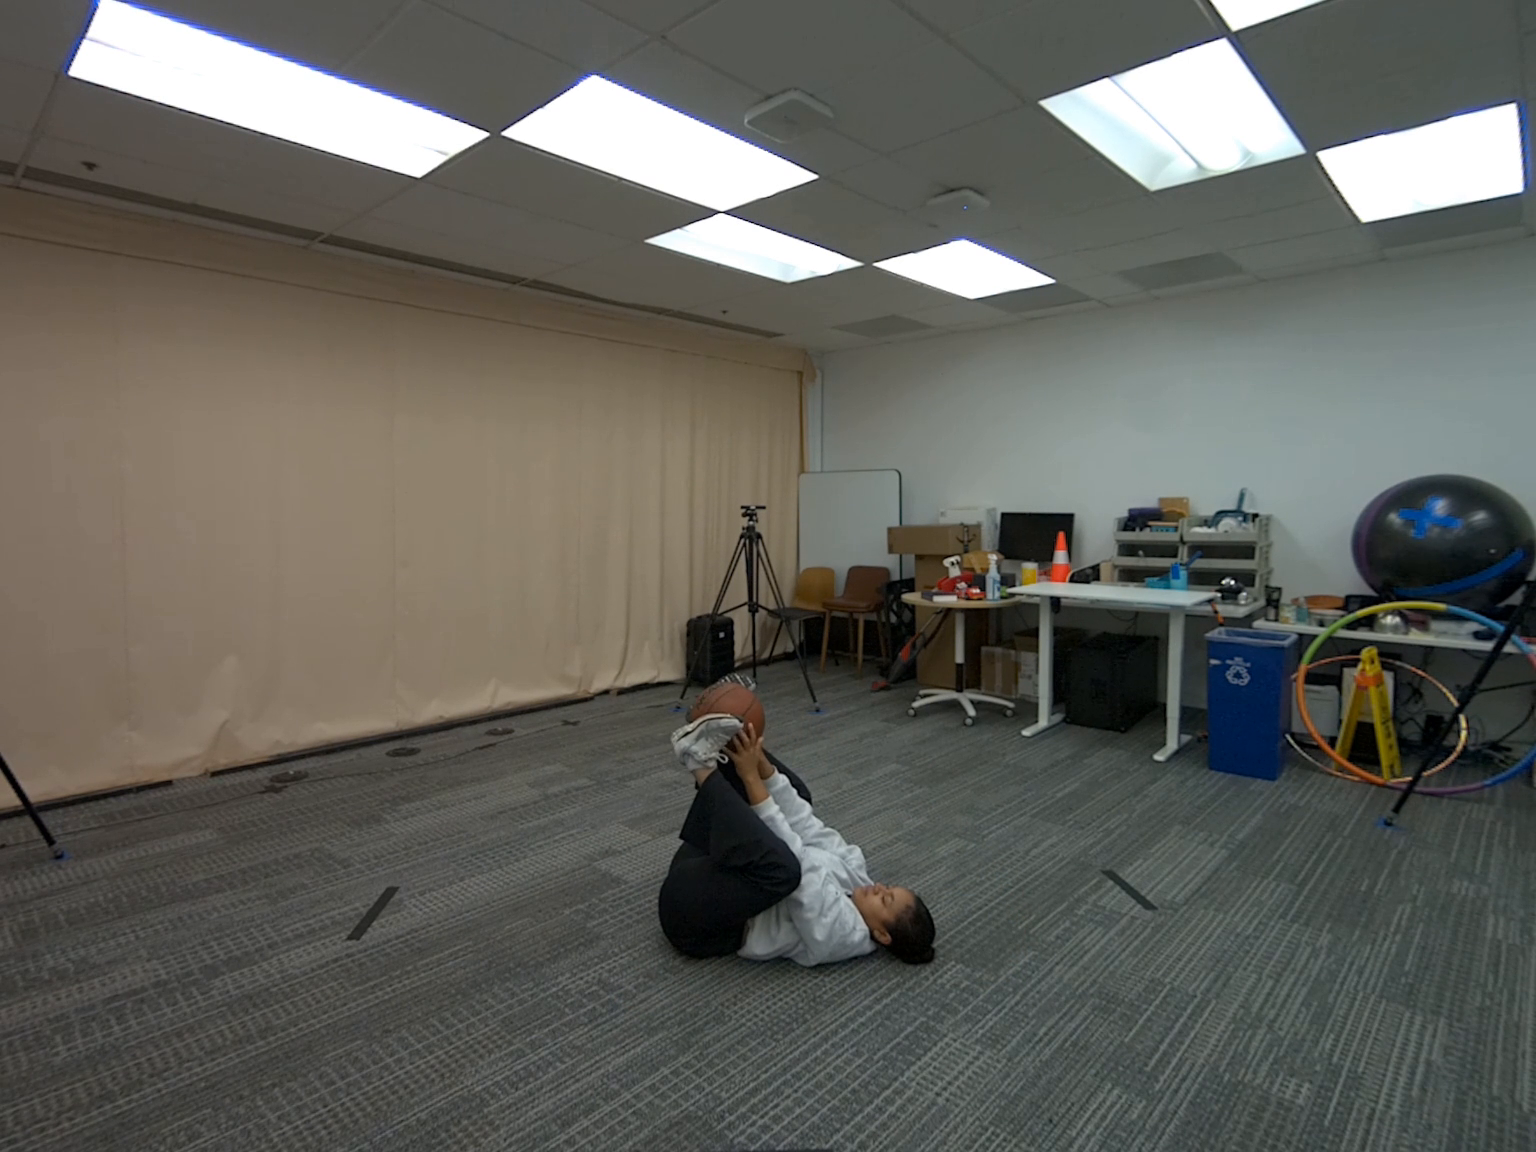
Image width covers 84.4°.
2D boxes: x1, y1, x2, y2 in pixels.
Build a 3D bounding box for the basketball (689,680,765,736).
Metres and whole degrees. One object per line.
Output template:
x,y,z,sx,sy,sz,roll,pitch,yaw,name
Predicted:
-0.125,0.458,2.681,0.236,0.236,0.236,2,0,-2,basketball
